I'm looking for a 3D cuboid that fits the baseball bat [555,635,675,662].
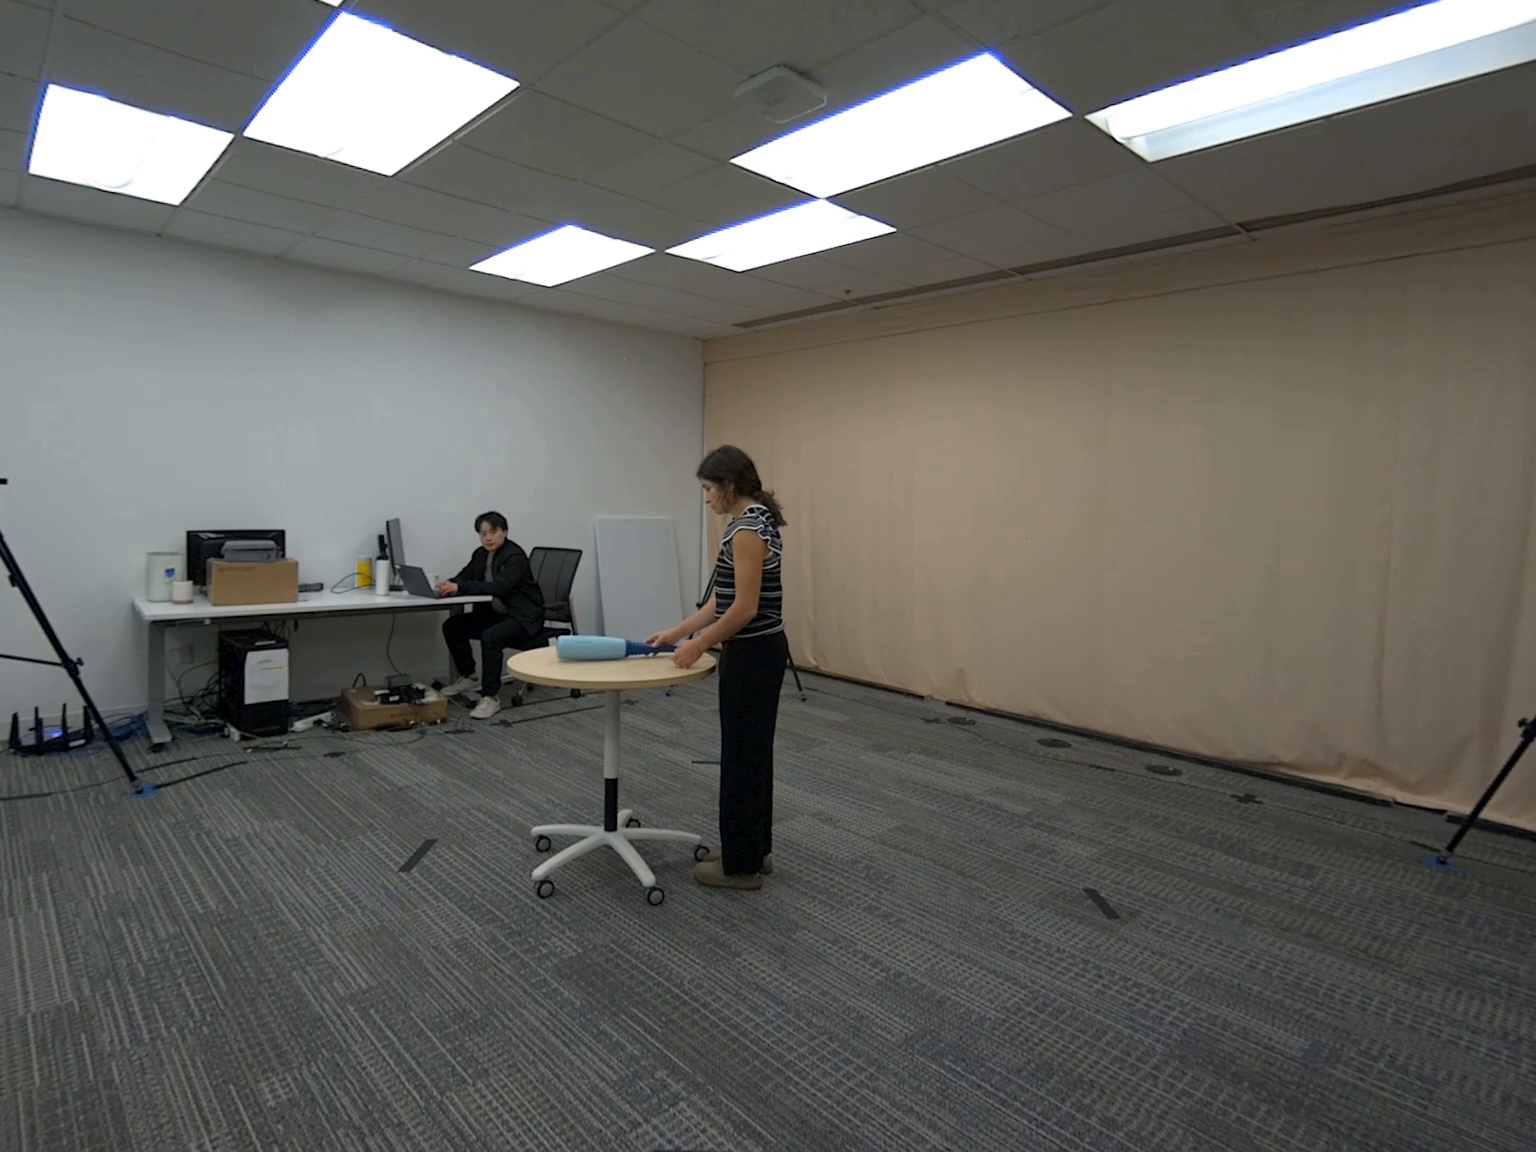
[{"bbox_3d":[-0.524,0.274,3.151,0.534,0.089,0.090,3,3,-20],"label":"baseball bat"}]
